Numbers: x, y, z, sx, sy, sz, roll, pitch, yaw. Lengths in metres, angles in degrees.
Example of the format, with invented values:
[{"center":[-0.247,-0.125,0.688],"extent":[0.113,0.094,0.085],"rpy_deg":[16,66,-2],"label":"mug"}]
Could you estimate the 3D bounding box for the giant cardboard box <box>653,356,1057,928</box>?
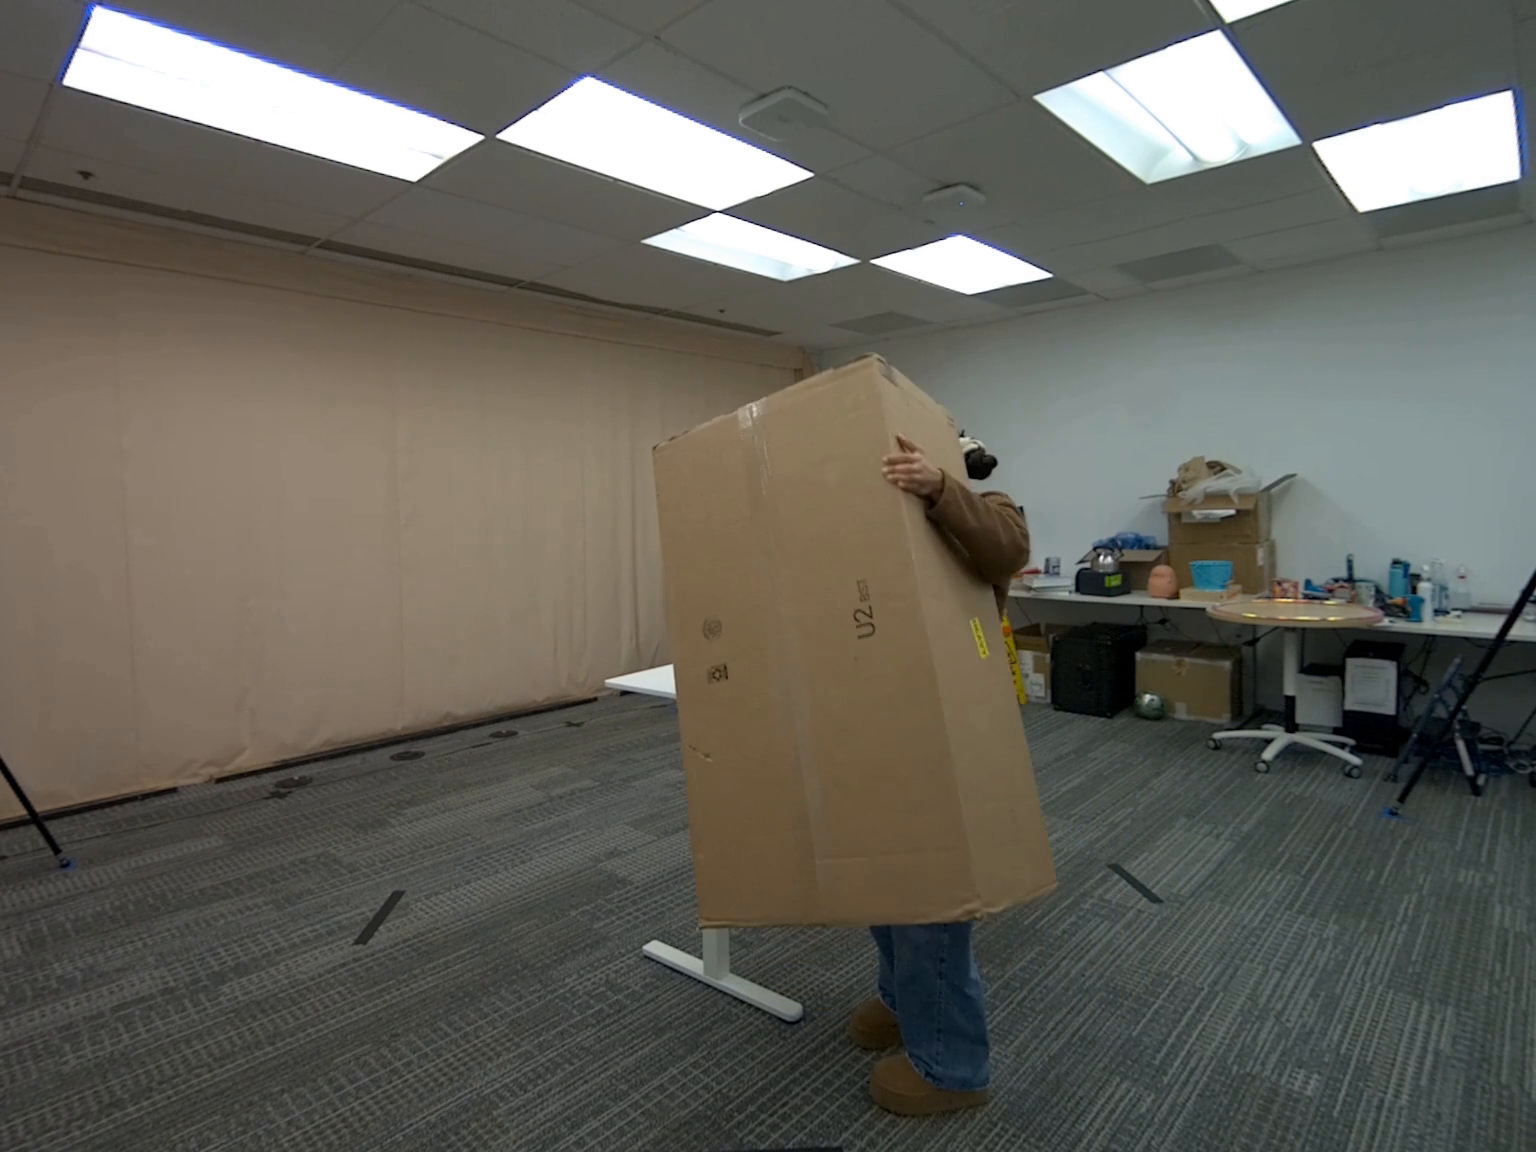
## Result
[{"center":[0.145,0.157,1.790],"extent":[0.590,1.039,0.411],"rpy_deg":[-18,-21,32],"label":"giant cardboard box"}]
